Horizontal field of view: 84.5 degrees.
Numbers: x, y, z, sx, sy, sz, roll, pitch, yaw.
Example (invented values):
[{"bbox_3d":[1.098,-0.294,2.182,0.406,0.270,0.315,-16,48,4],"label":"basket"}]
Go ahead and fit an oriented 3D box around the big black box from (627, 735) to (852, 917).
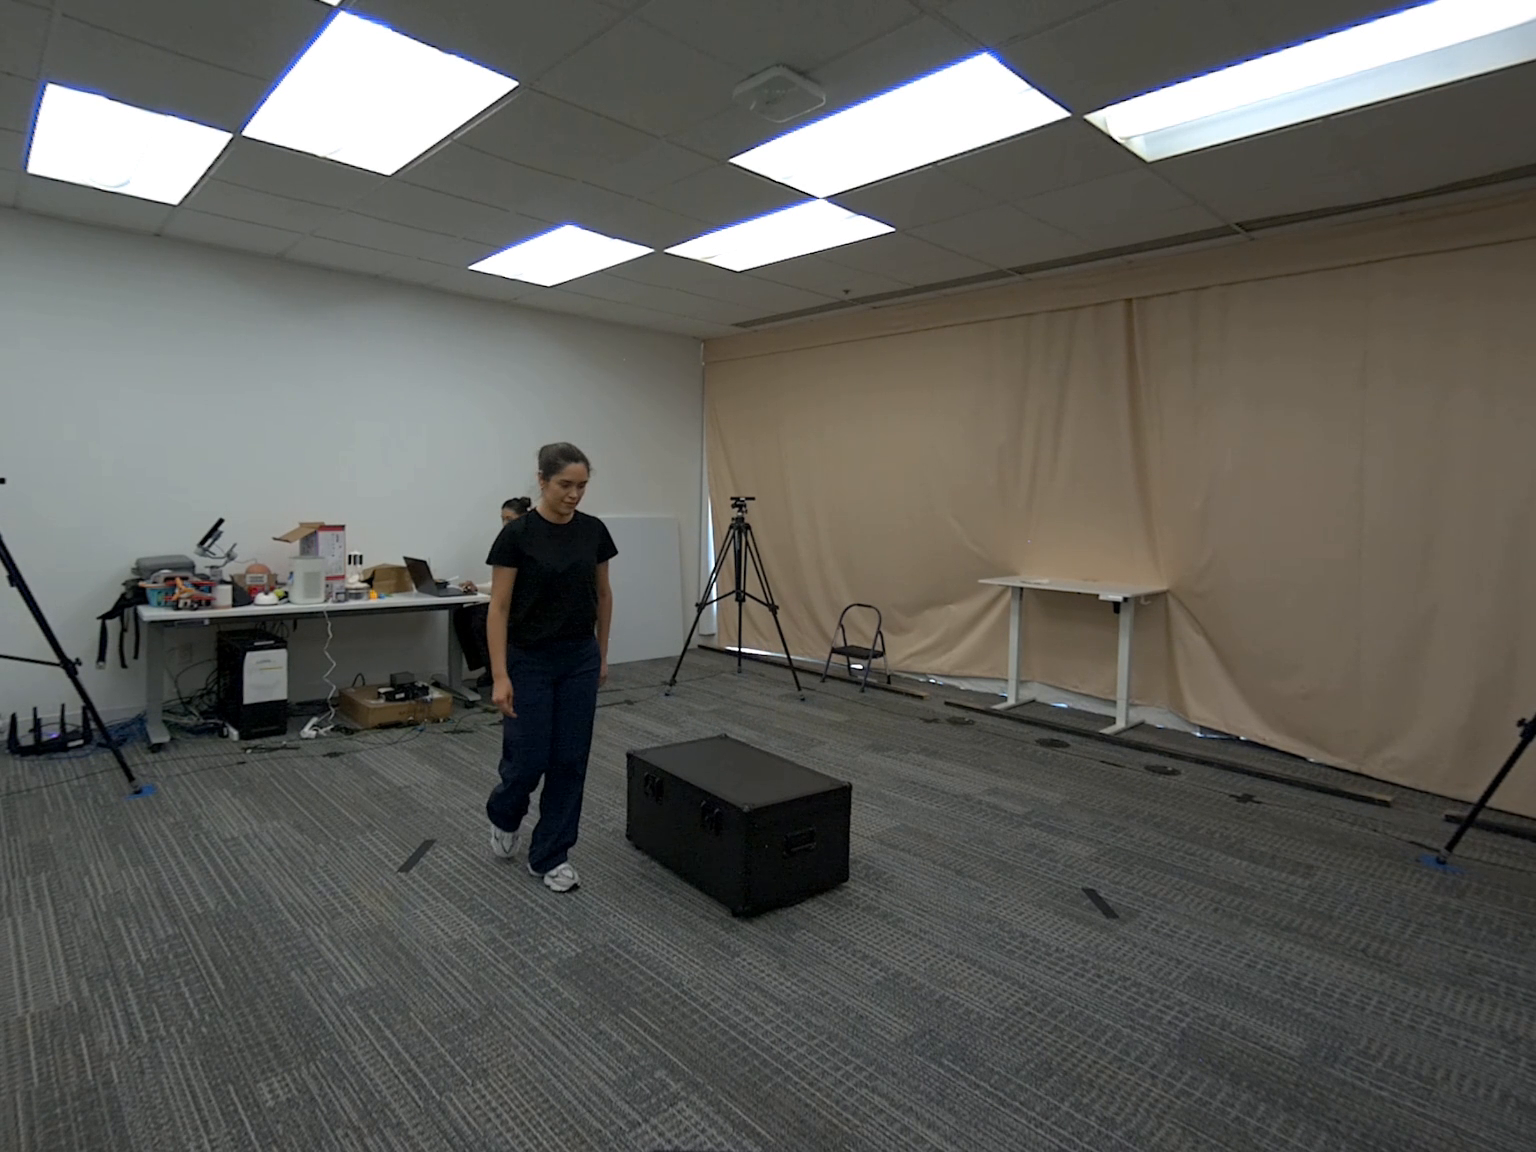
[{"bbox_3d":[-0.122,0.911,3.153,0.510,0.395,0.883,-3,5,-37],"label":"big black box"}]
